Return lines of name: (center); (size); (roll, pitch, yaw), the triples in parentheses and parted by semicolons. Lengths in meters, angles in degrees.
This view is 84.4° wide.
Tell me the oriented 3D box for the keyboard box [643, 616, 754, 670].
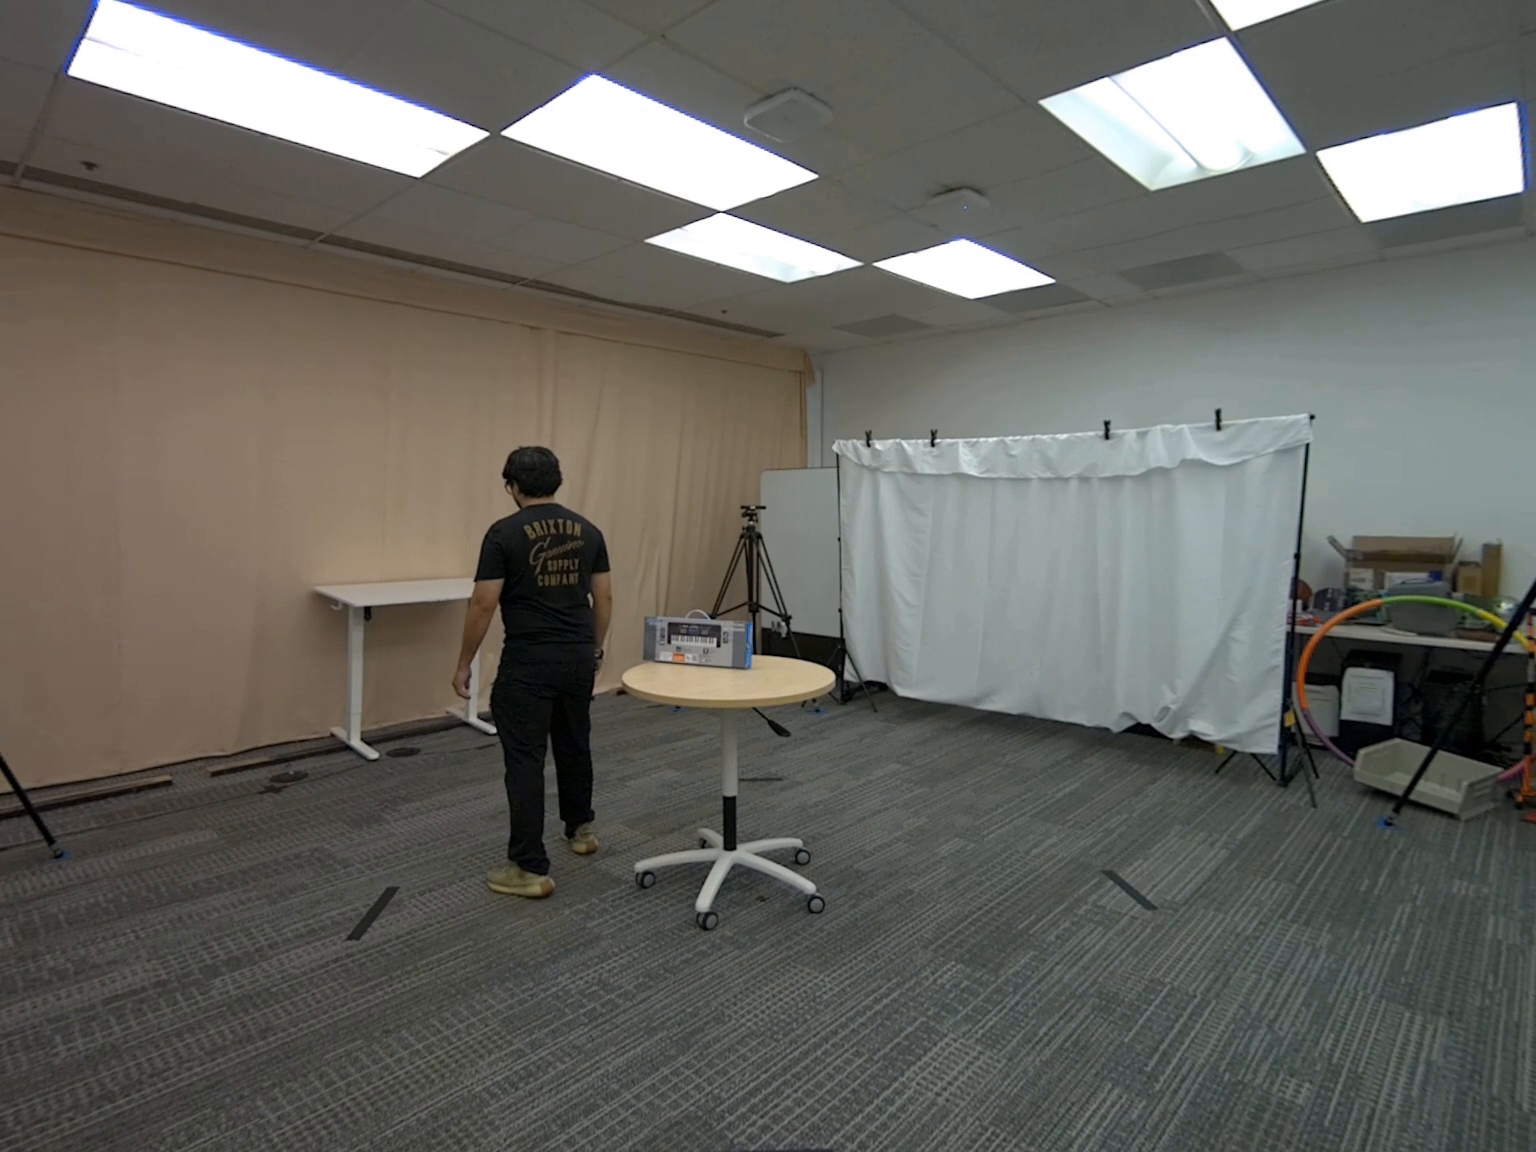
keyboard box: (-0.272, 0.254, 3.228); (0.447, 0.176, 0.057); (2, -3, 23)
